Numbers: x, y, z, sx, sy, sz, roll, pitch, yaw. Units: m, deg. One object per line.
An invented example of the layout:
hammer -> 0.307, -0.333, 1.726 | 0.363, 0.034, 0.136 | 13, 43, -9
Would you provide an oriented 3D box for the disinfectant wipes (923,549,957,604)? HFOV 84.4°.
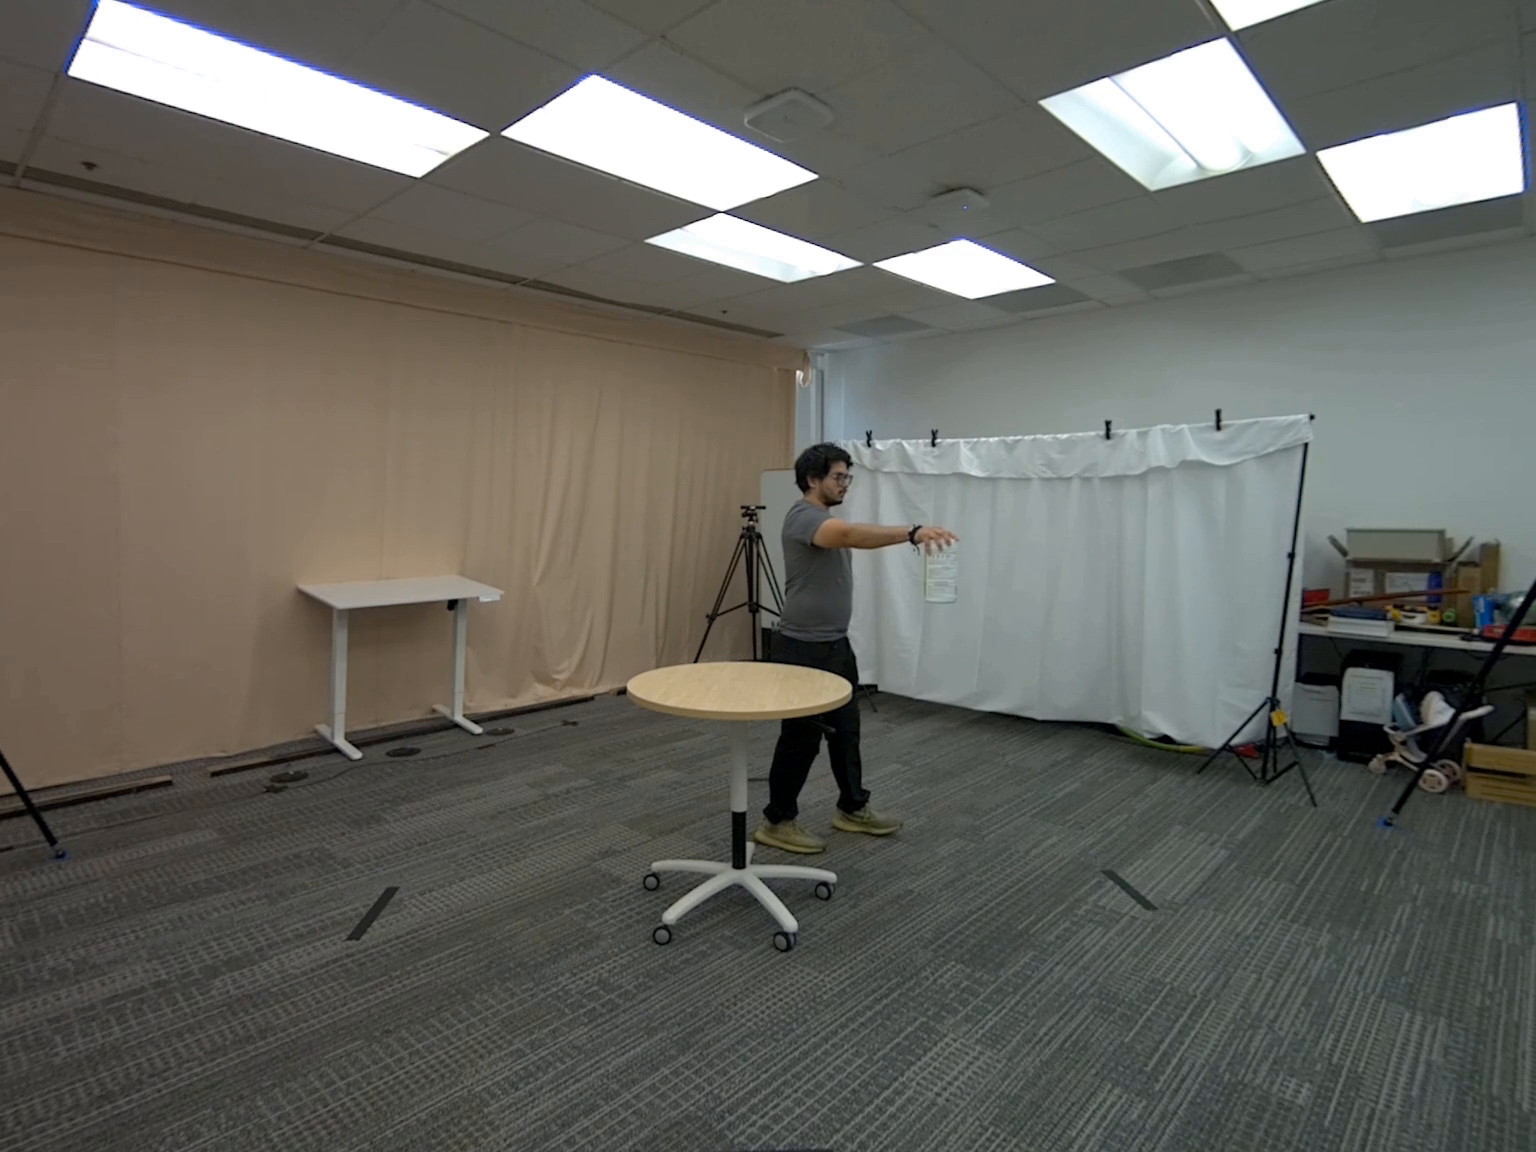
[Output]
disinfectant wipes -> 0.599, -0.018, 2.869 | 0.118, 0.217, 0.118 | -1, 3, -2
